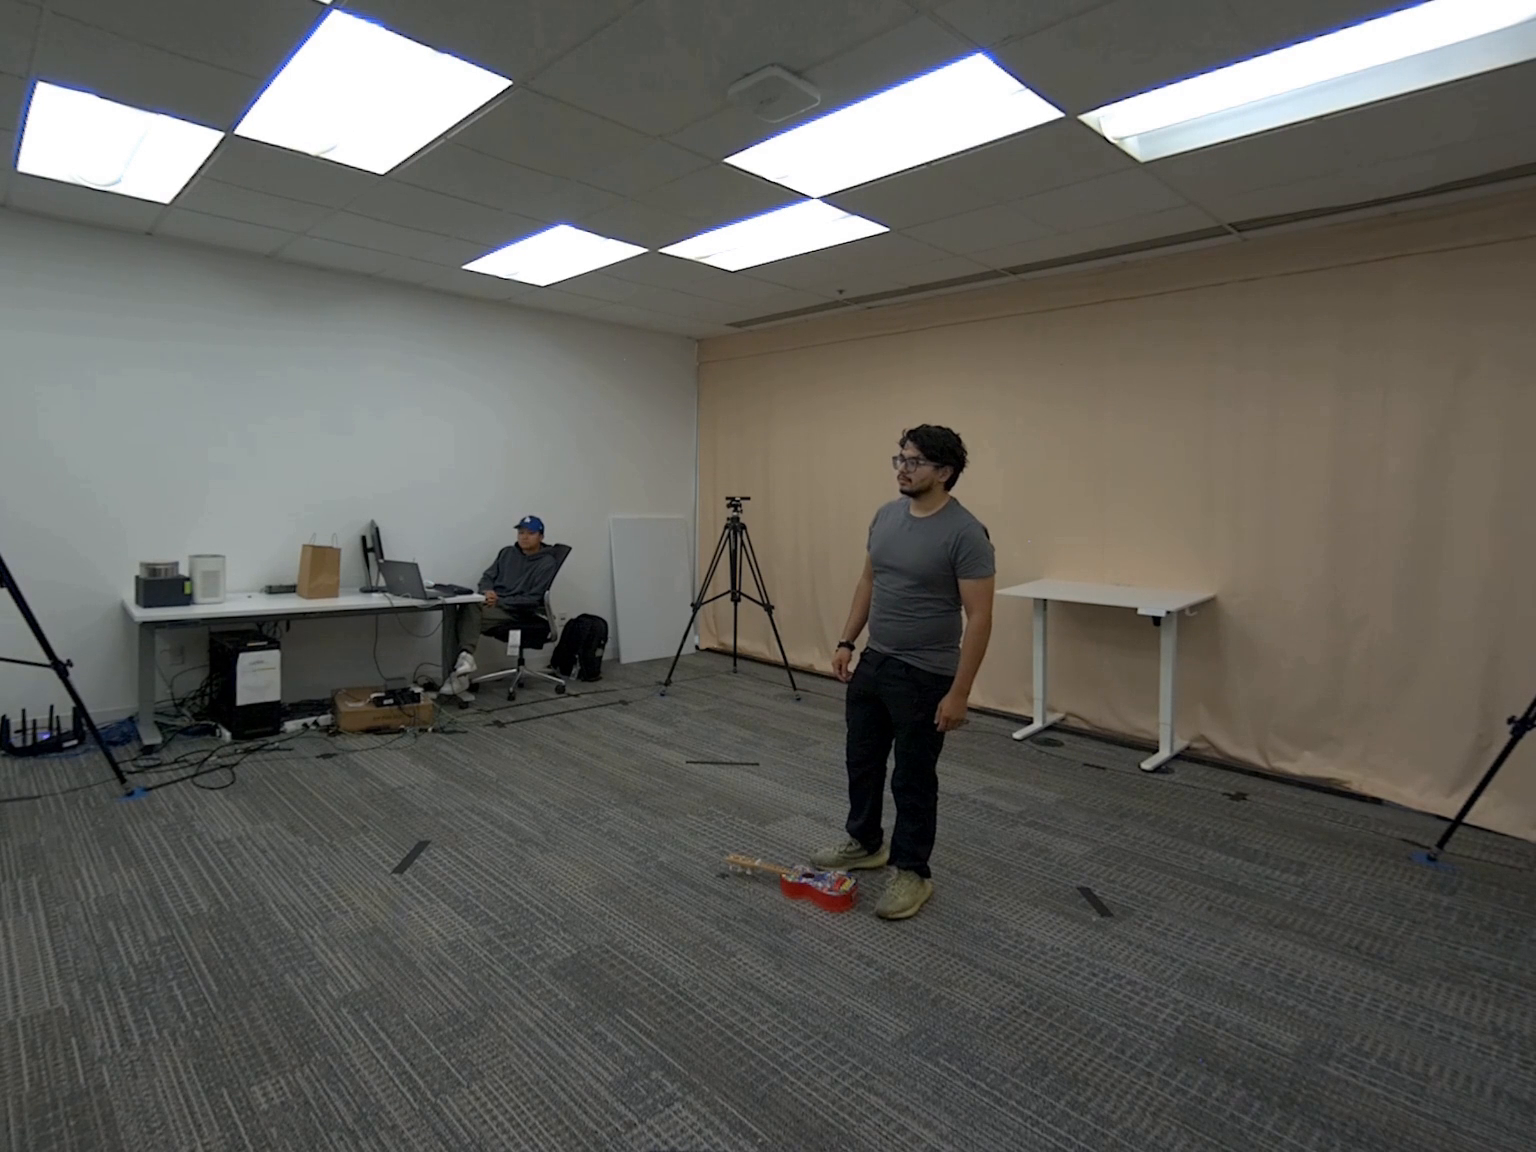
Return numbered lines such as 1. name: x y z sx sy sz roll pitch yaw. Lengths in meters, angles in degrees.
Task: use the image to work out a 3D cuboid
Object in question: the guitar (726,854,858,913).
1. guitar: 0.085 1.081 3.041 0.510 0.070 0.189 5 7 35
